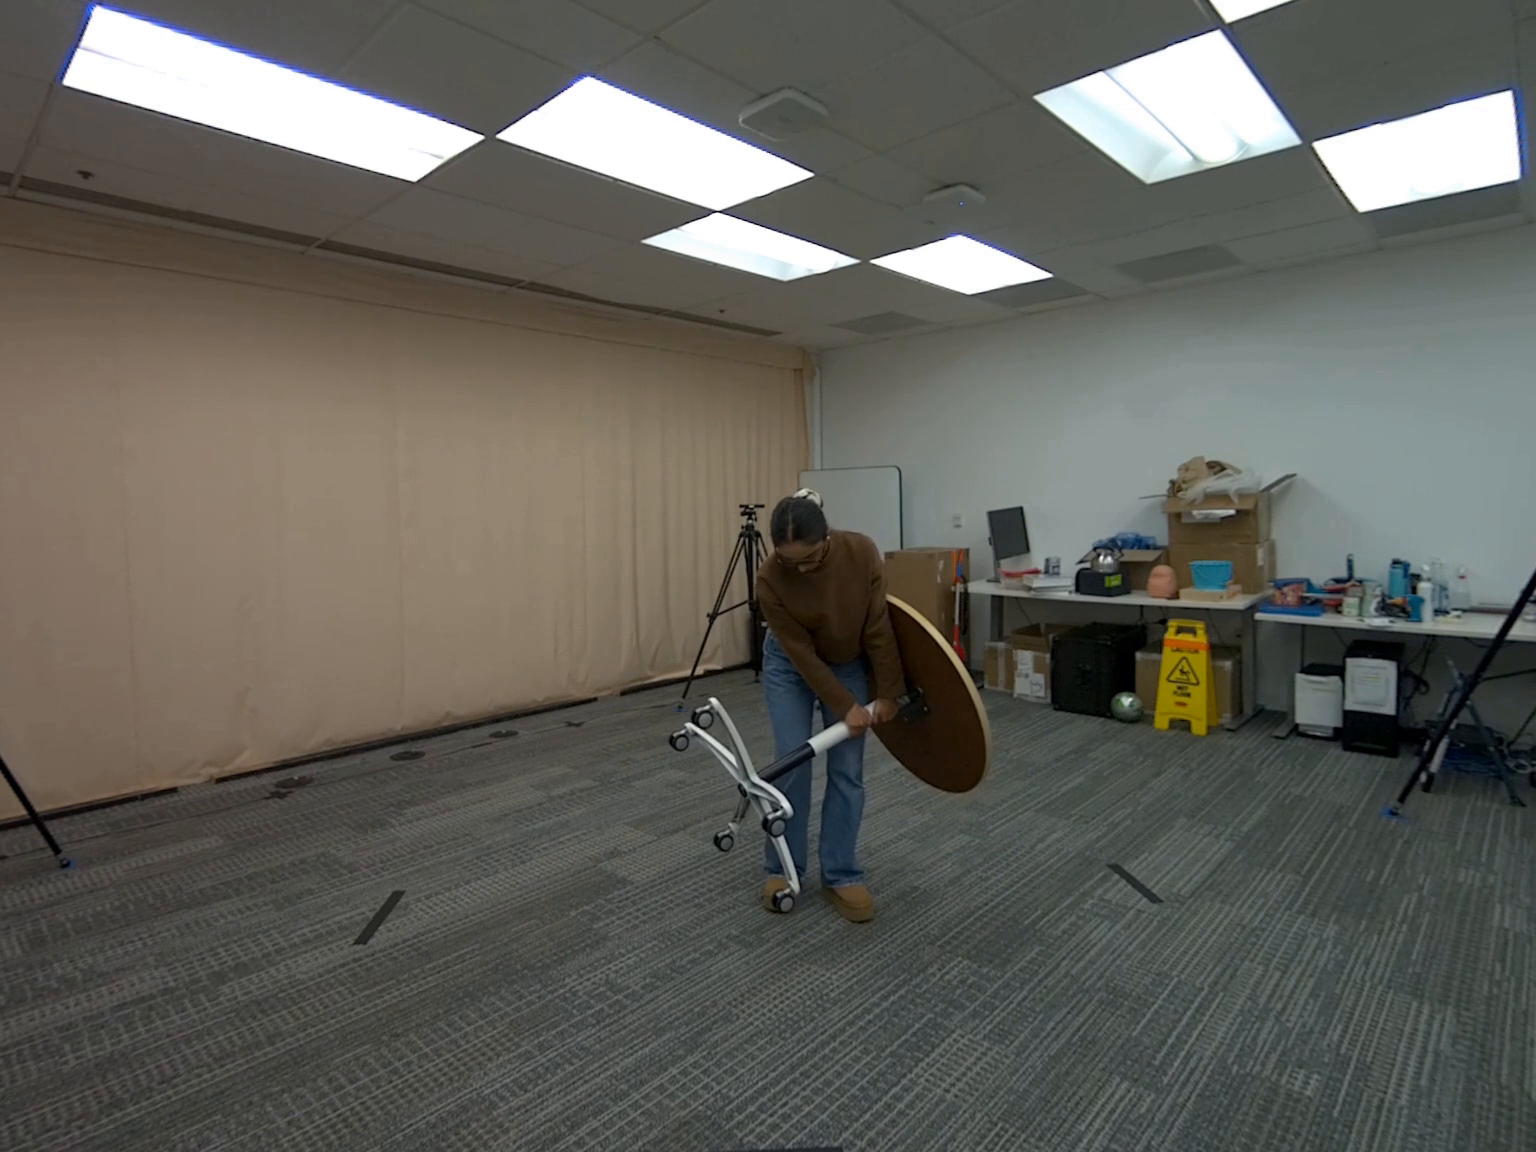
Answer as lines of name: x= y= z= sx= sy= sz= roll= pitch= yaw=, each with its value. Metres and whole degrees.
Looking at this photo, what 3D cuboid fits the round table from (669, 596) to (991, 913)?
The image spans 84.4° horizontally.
round table: x=0.177 y=0.568 z=2.815 sx=0.782 sy=0.755 sz=0.785 roll=-26 pitch=14 yaw=-24
